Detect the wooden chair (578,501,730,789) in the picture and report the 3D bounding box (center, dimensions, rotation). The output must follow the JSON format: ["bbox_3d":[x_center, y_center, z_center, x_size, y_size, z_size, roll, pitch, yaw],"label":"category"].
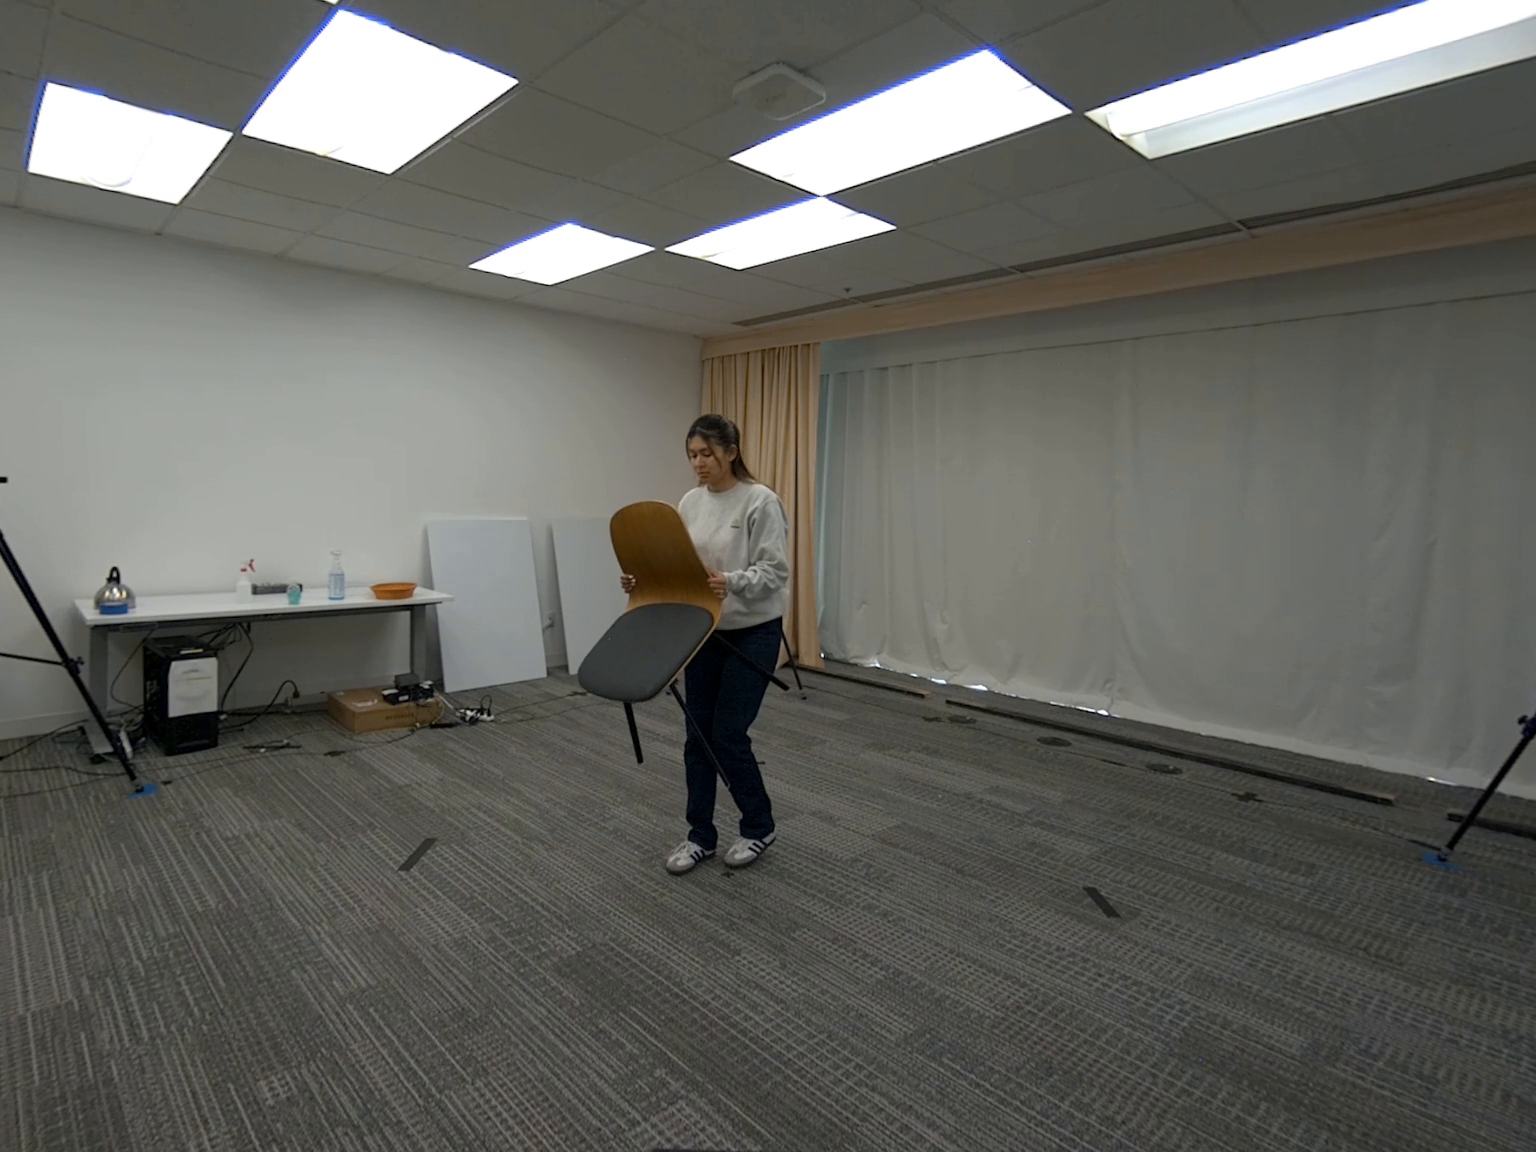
[{"bbox_3d":[-0.380,0.249,2.911,0.490,0.856,0.523,2,37,42],"label":"wooden chair"}]
